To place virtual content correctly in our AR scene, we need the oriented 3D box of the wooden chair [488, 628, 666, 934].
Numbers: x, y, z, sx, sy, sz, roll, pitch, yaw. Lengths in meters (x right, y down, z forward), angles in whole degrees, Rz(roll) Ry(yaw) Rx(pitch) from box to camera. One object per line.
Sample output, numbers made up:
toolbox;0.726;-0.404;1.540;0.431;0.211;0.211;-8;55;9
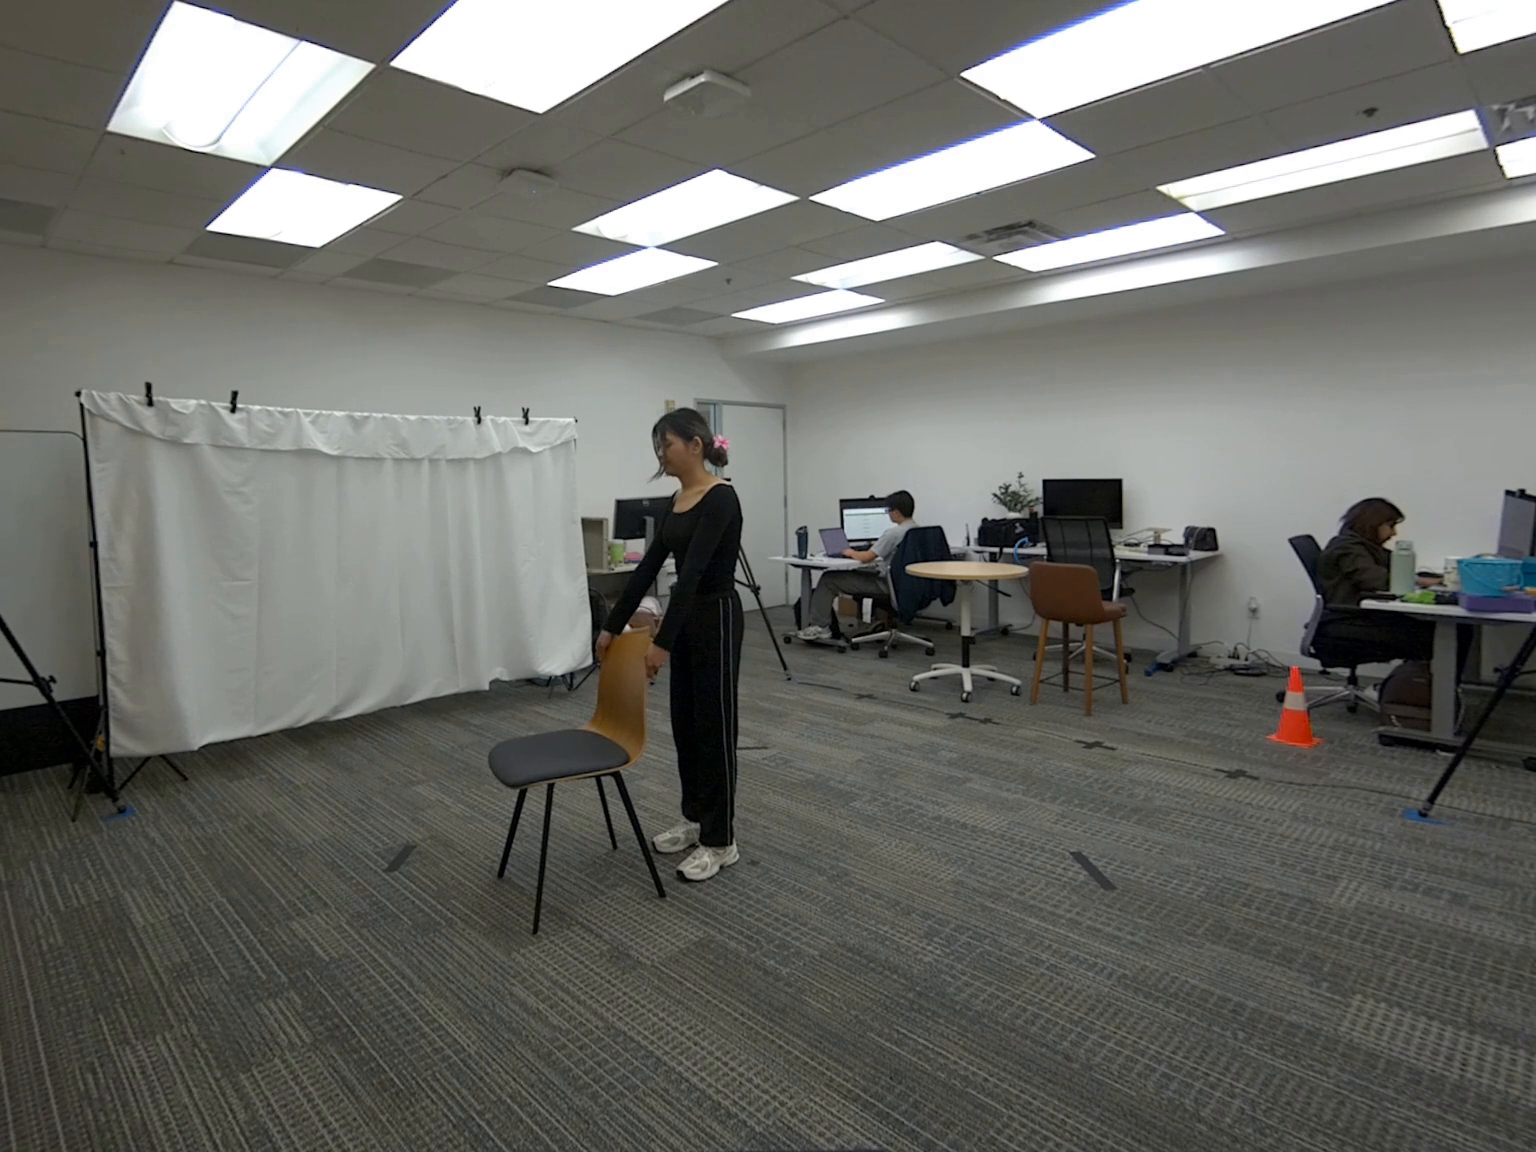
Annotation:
wooden chair;-0.665;0.653;2.902;0.510;0.876;0.491;1;3;-30
